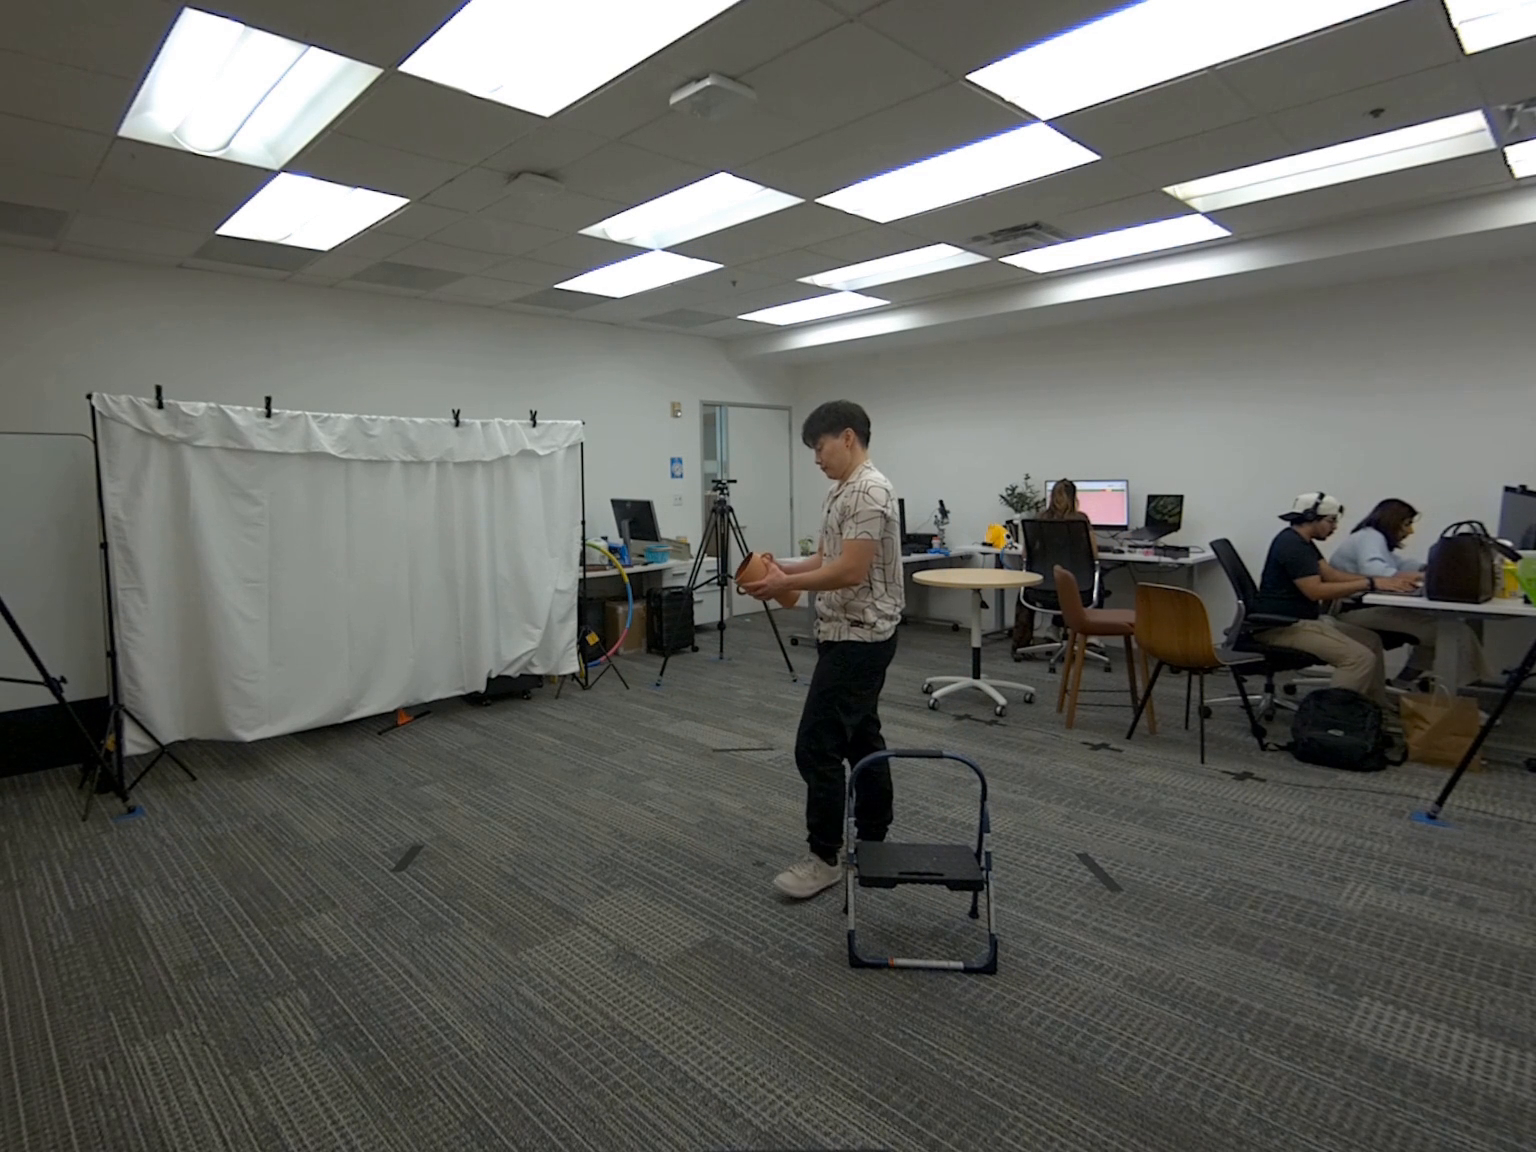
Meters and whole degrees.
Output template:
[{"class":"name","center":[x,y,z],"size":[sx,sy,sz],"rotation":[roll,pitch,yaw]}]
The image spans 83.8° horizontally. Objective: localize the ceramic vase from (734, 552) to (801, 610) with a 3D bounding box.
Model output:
[{"class":"ceramic vase","center":[0.000,0.023,3.007],"size":[0.217,0.136,0.159],"rotation":[33,-27,-11]}]
